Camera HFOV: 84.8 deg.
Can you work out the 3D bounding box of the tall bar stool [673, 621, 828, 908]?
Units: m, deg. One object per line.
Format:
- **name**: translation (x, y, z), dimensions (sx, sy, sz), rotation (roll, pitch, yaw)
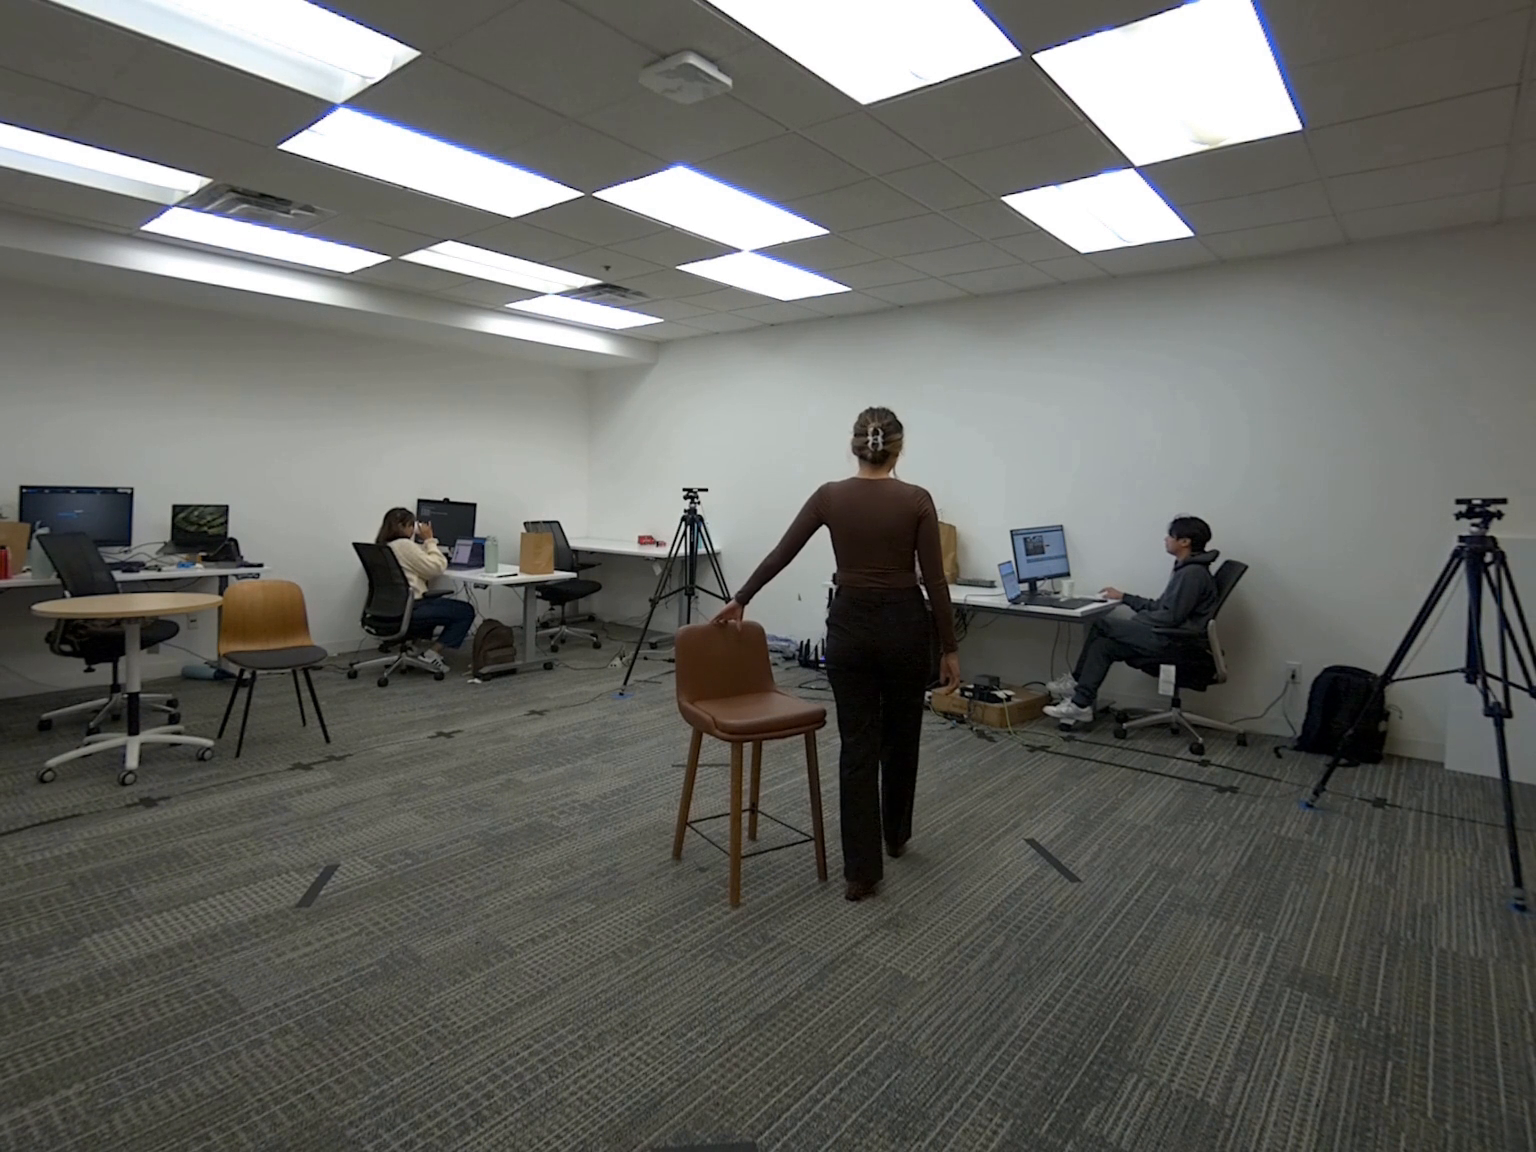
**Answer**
- **tall bar stool**: translation (-0.081, 0.638, 3.104), dimensions (0.443, 0.889, 0.482), rotation (0, 1, -35)
